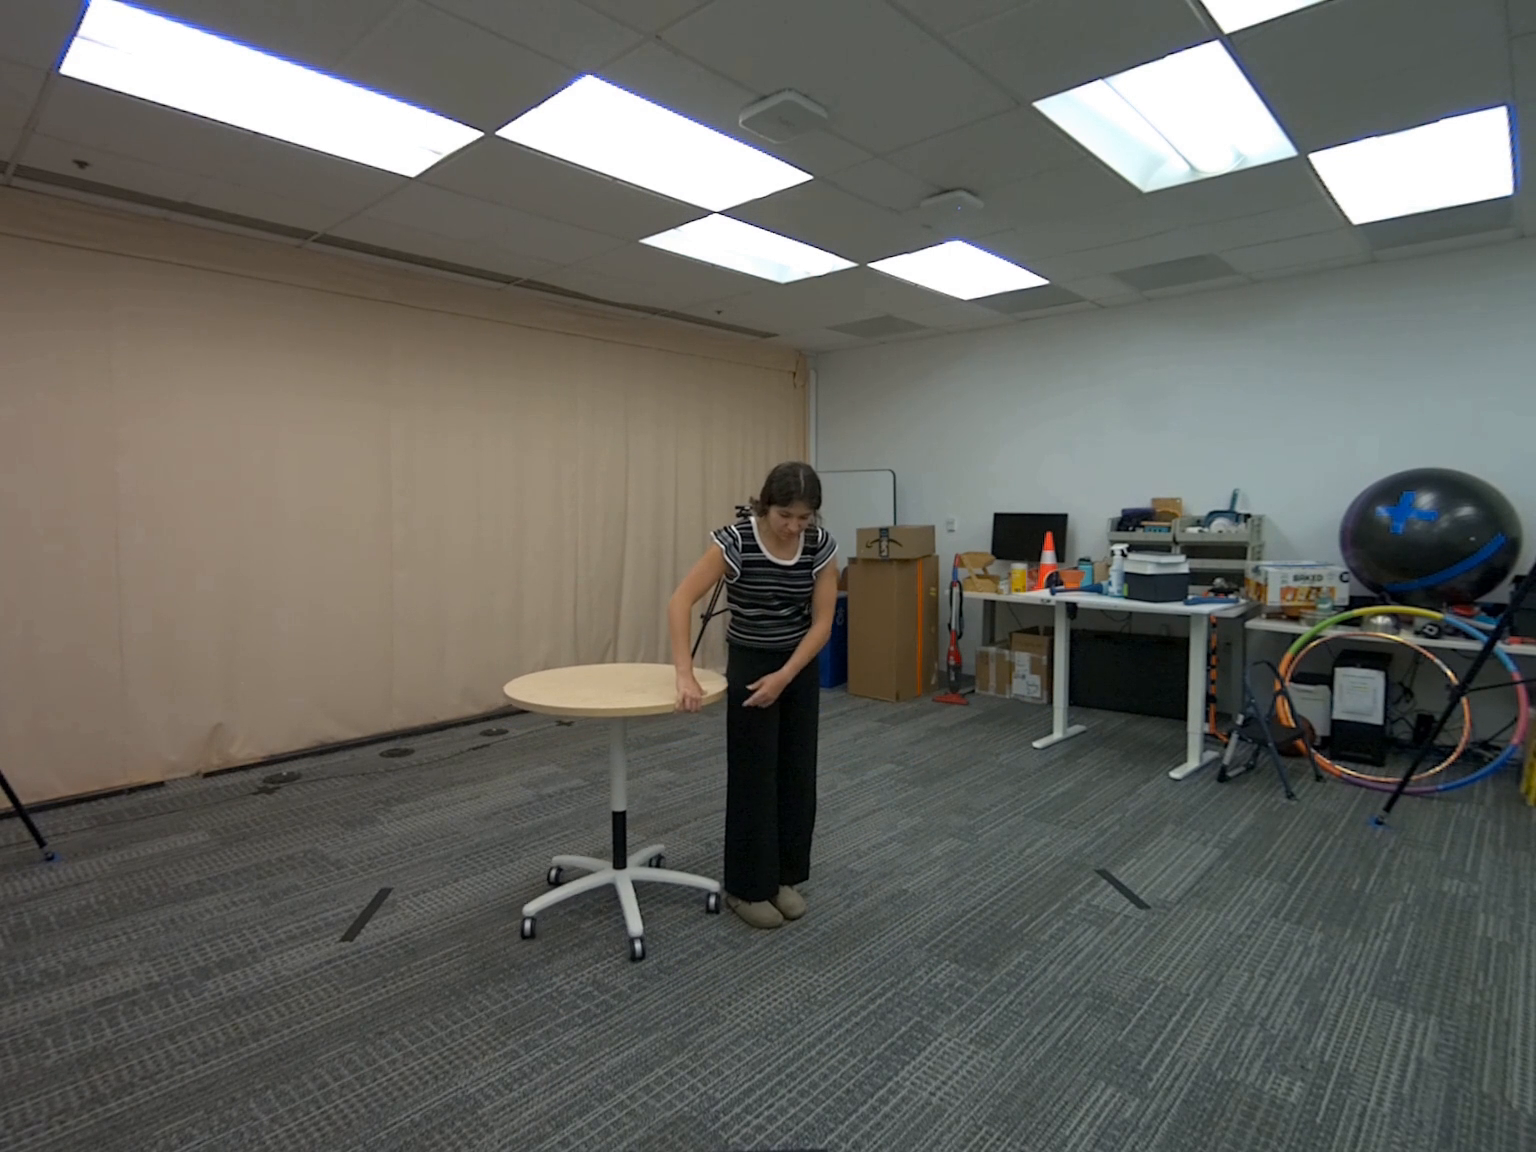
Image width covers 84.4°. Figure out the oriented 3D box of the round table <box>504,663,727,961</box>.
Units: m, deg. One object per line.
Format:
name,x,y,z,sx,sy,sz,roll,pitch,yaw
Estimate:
round table,-0.506,0.764,2.906,0.784,0.785,0.787,-1,3,-2
